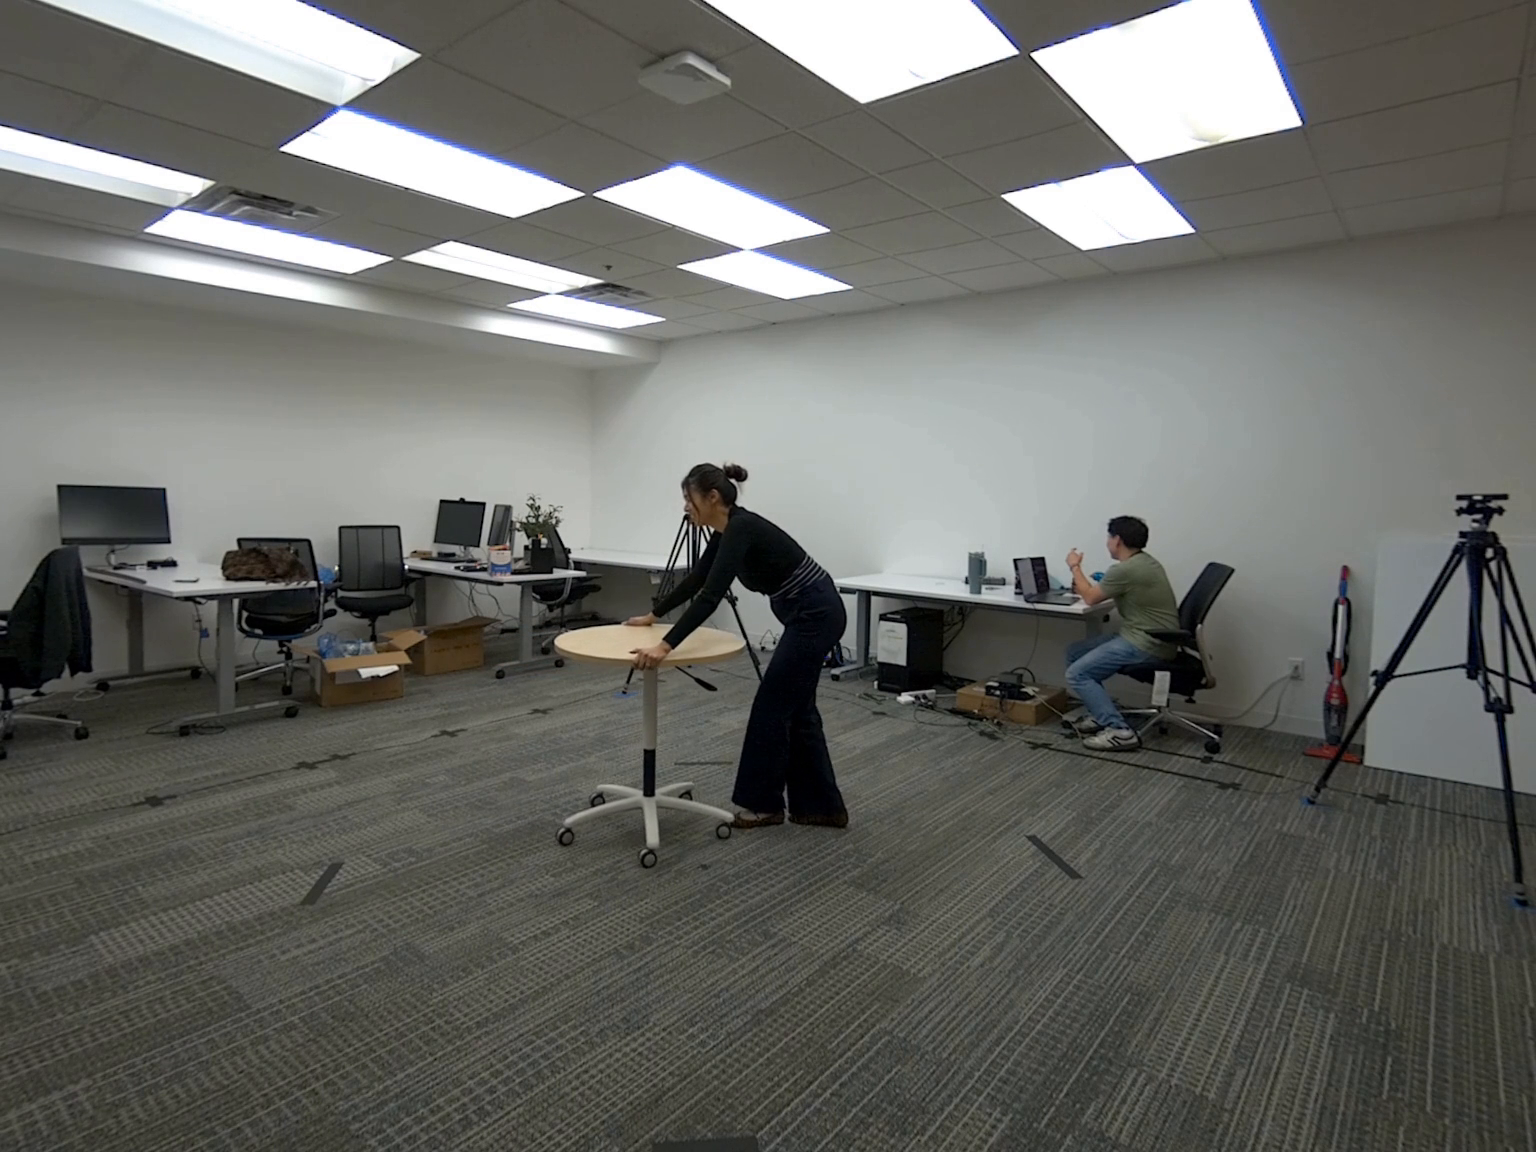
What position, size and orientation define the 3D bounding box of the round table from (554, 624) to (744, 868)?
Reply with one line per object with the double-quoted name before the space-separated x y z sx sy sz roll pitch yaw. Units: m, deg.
"round table" -0.496 0.646 3.434 0.763 0.791 0.768 1 4 -2
